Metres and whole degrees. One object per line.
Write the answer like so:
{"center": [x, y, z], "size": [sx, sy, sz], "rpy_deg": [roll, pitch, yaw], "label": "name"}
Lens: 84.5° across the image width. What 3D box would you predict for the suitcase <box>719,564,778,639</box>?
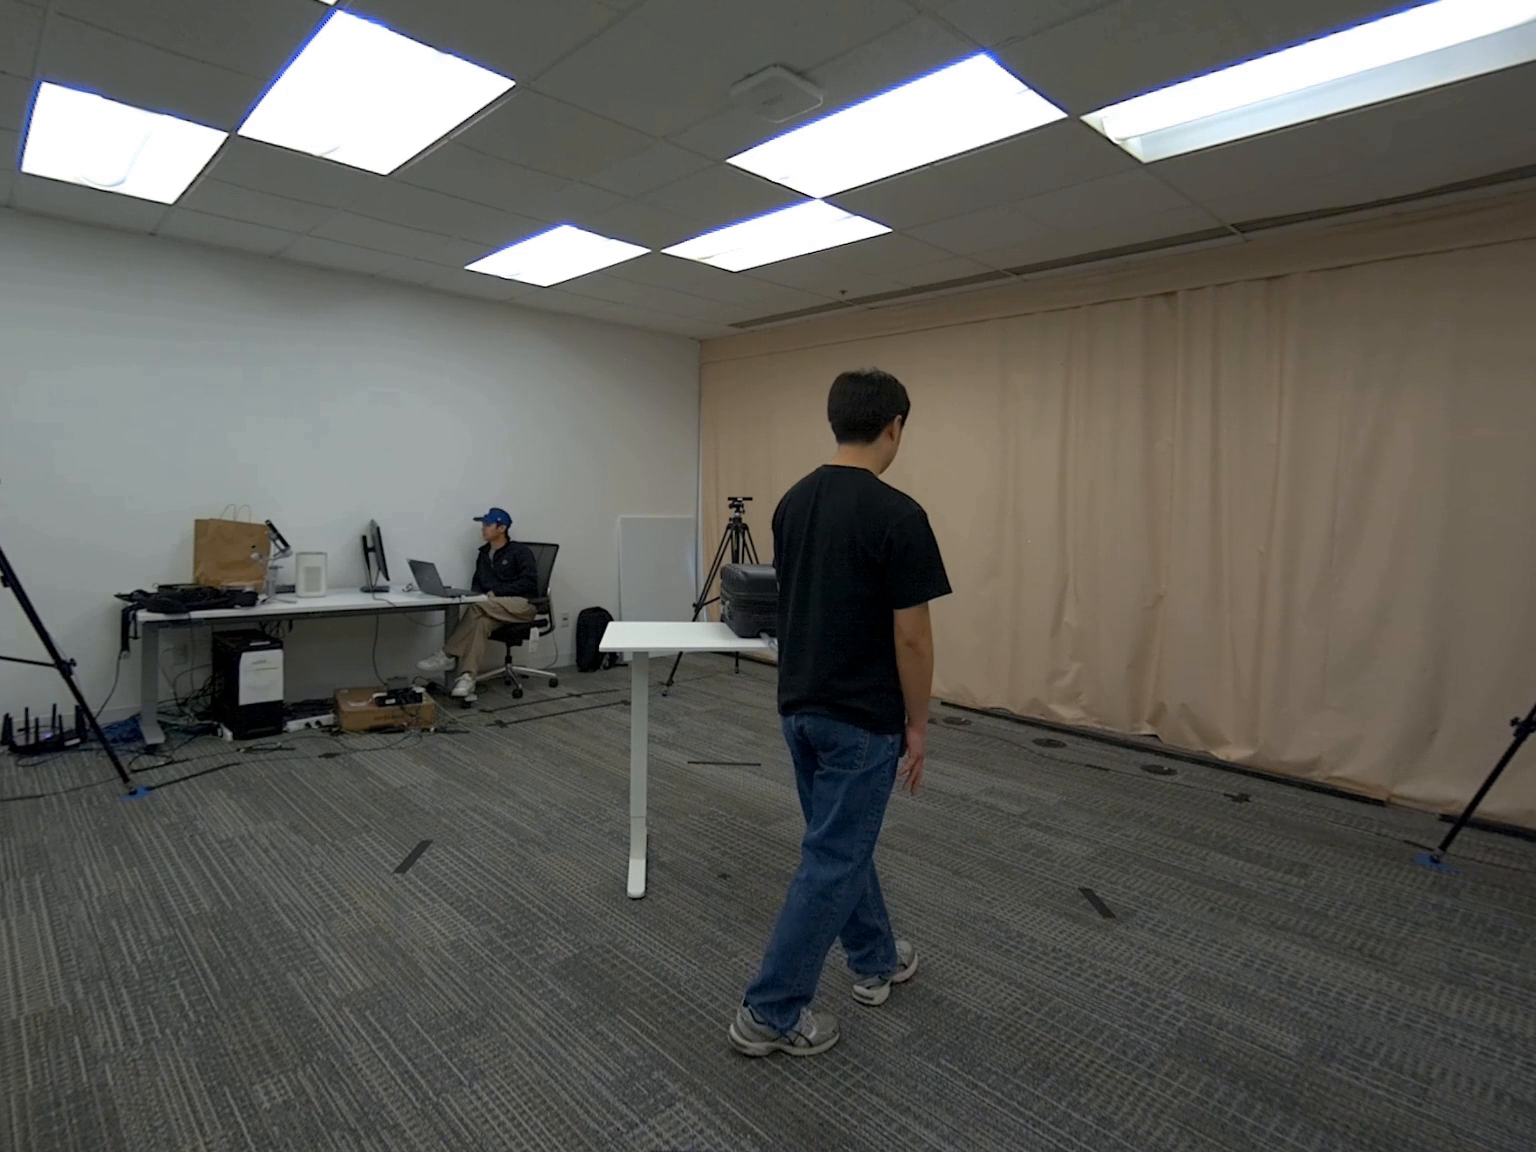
{"center": [0.035, 0.106, 3.096], "size": [0.381, 0.257, 0.987], "rpy_deg": [2, 2, -10], "label": "suitcase"}
